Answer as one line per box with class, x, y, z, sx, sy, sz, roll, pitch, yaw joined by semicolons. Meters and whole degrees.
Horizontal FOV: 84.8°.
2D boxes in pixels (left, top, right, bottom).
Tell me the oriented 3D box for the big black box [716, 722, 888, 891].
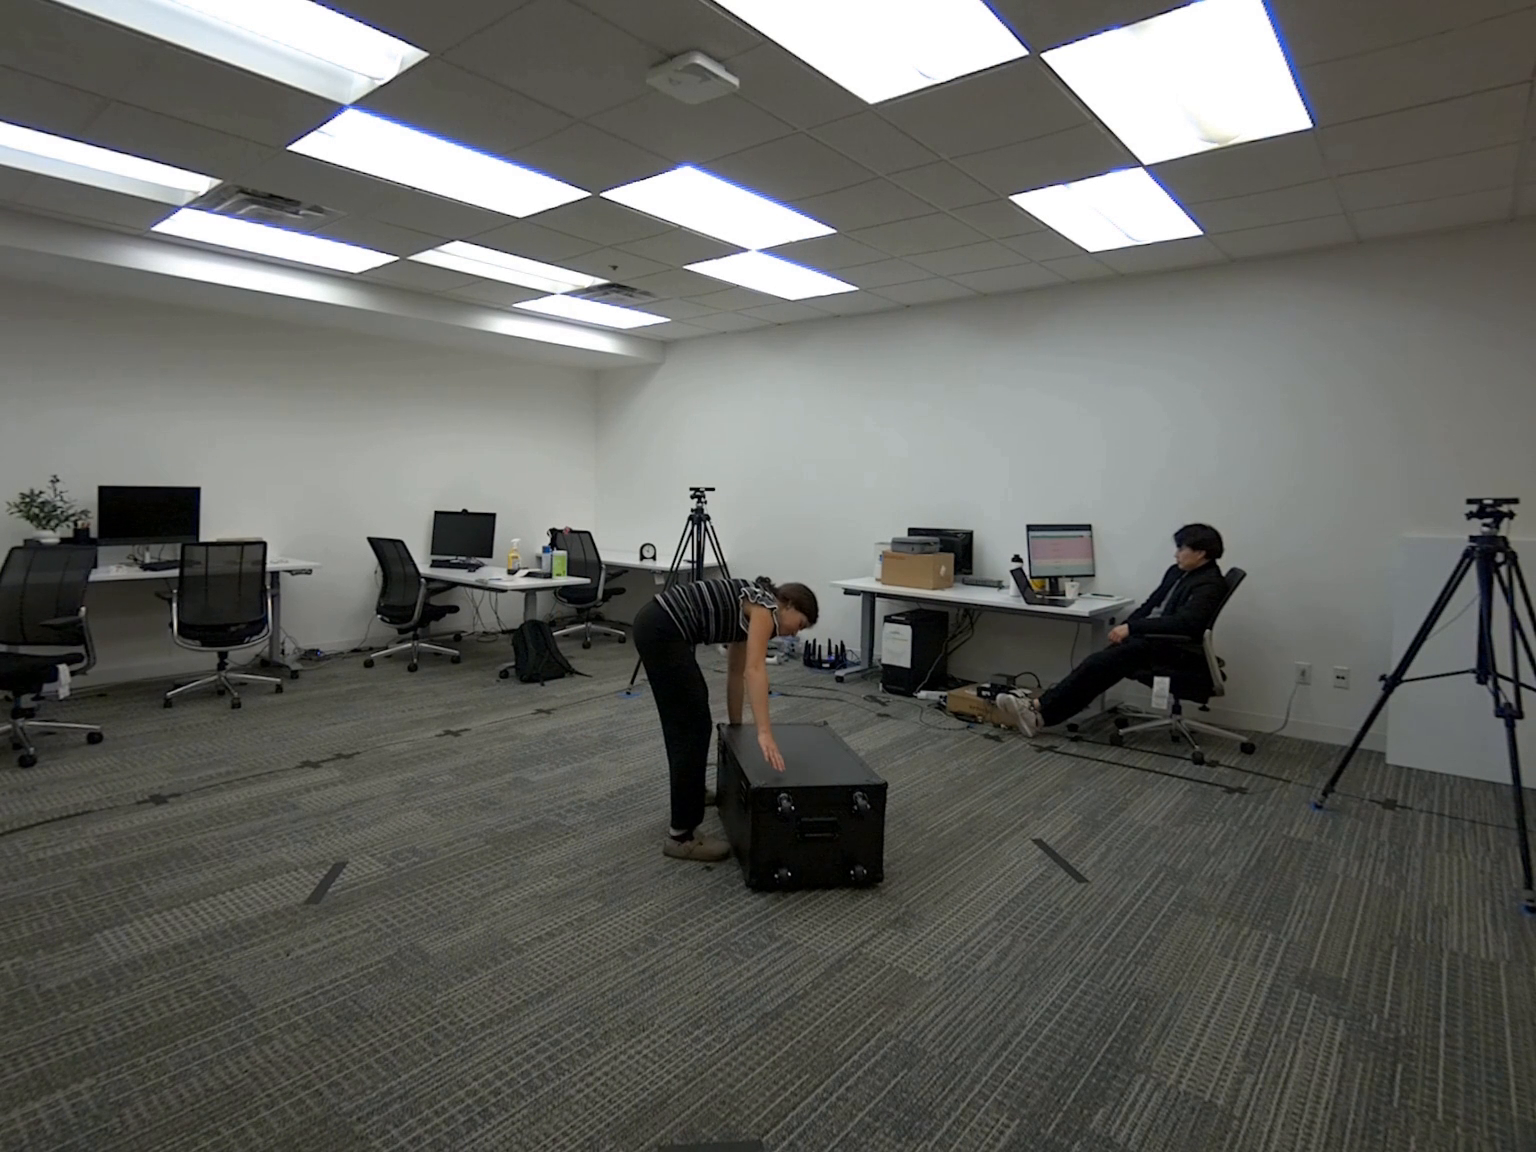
big black box;0.093;0.863;3.283;0.515;0.395;0.875;0;5;-12
